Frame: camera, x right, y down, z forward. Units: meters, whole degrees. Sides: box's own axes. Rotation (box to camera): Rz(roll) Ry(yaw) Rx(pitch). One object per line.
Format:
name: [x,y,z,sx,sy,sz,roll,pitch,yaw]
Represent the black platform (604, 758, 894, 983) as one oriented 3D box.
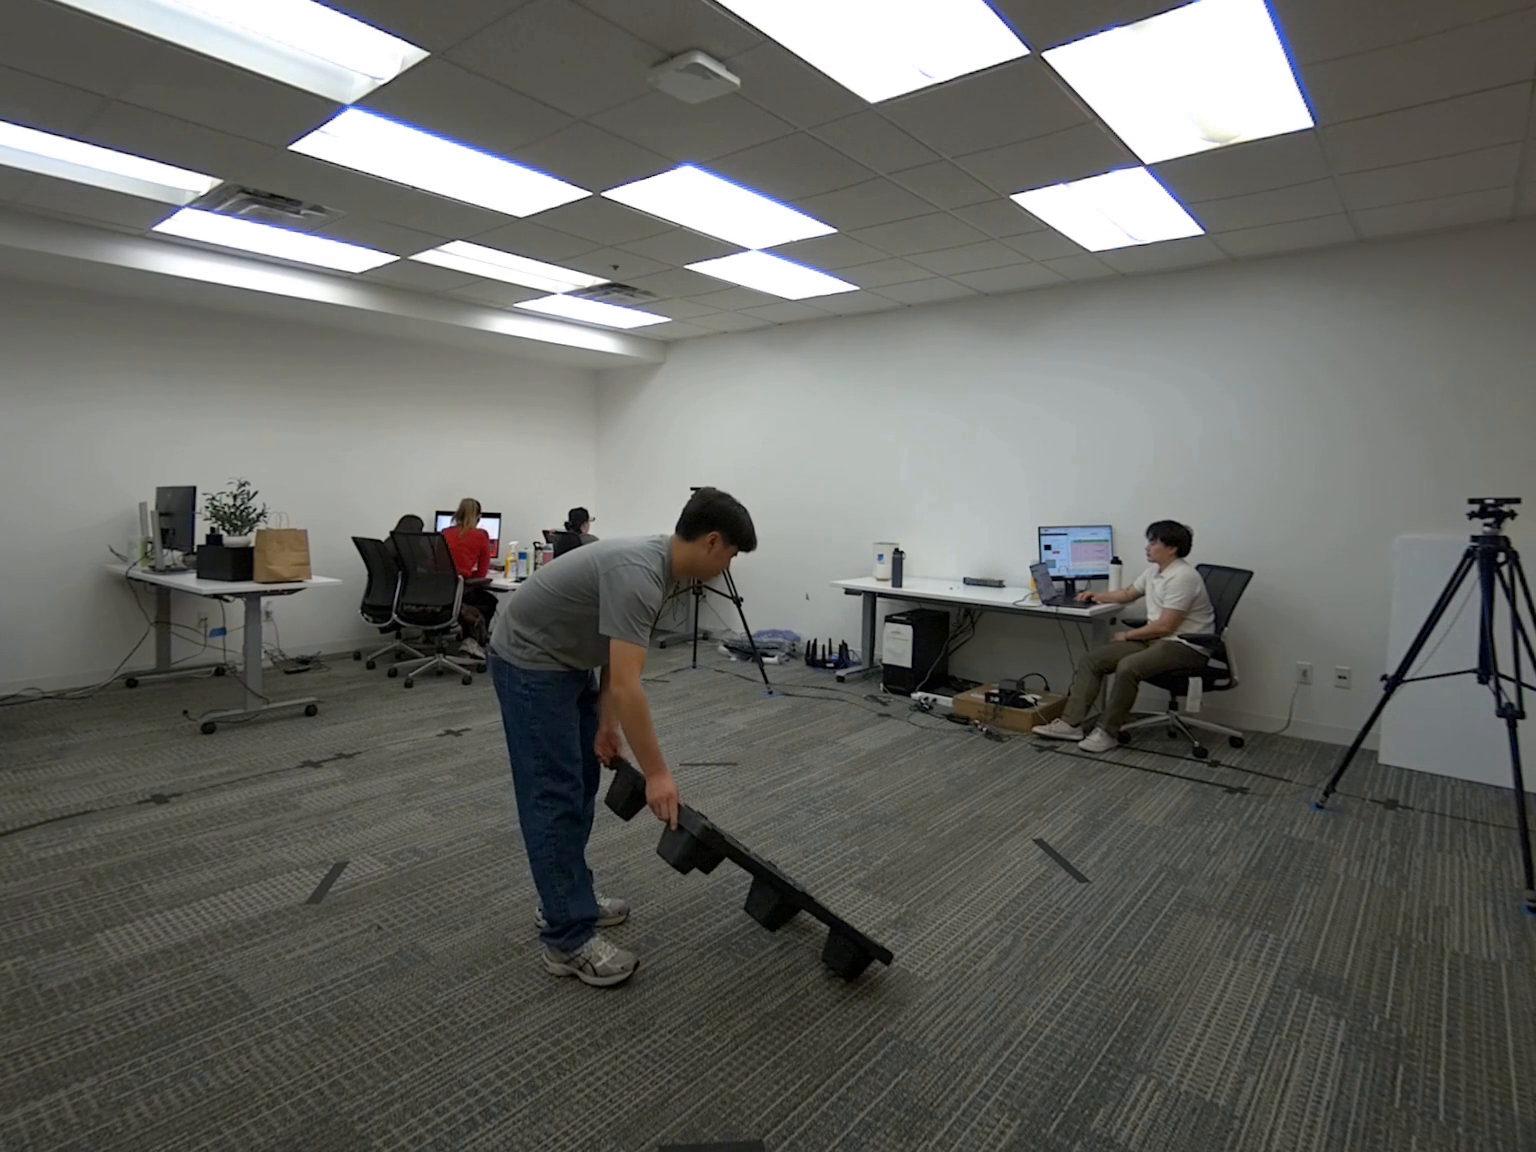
black platform: [-0.100,0.847,2.463,0.779,0.144,0.624,44,-18,-27]
